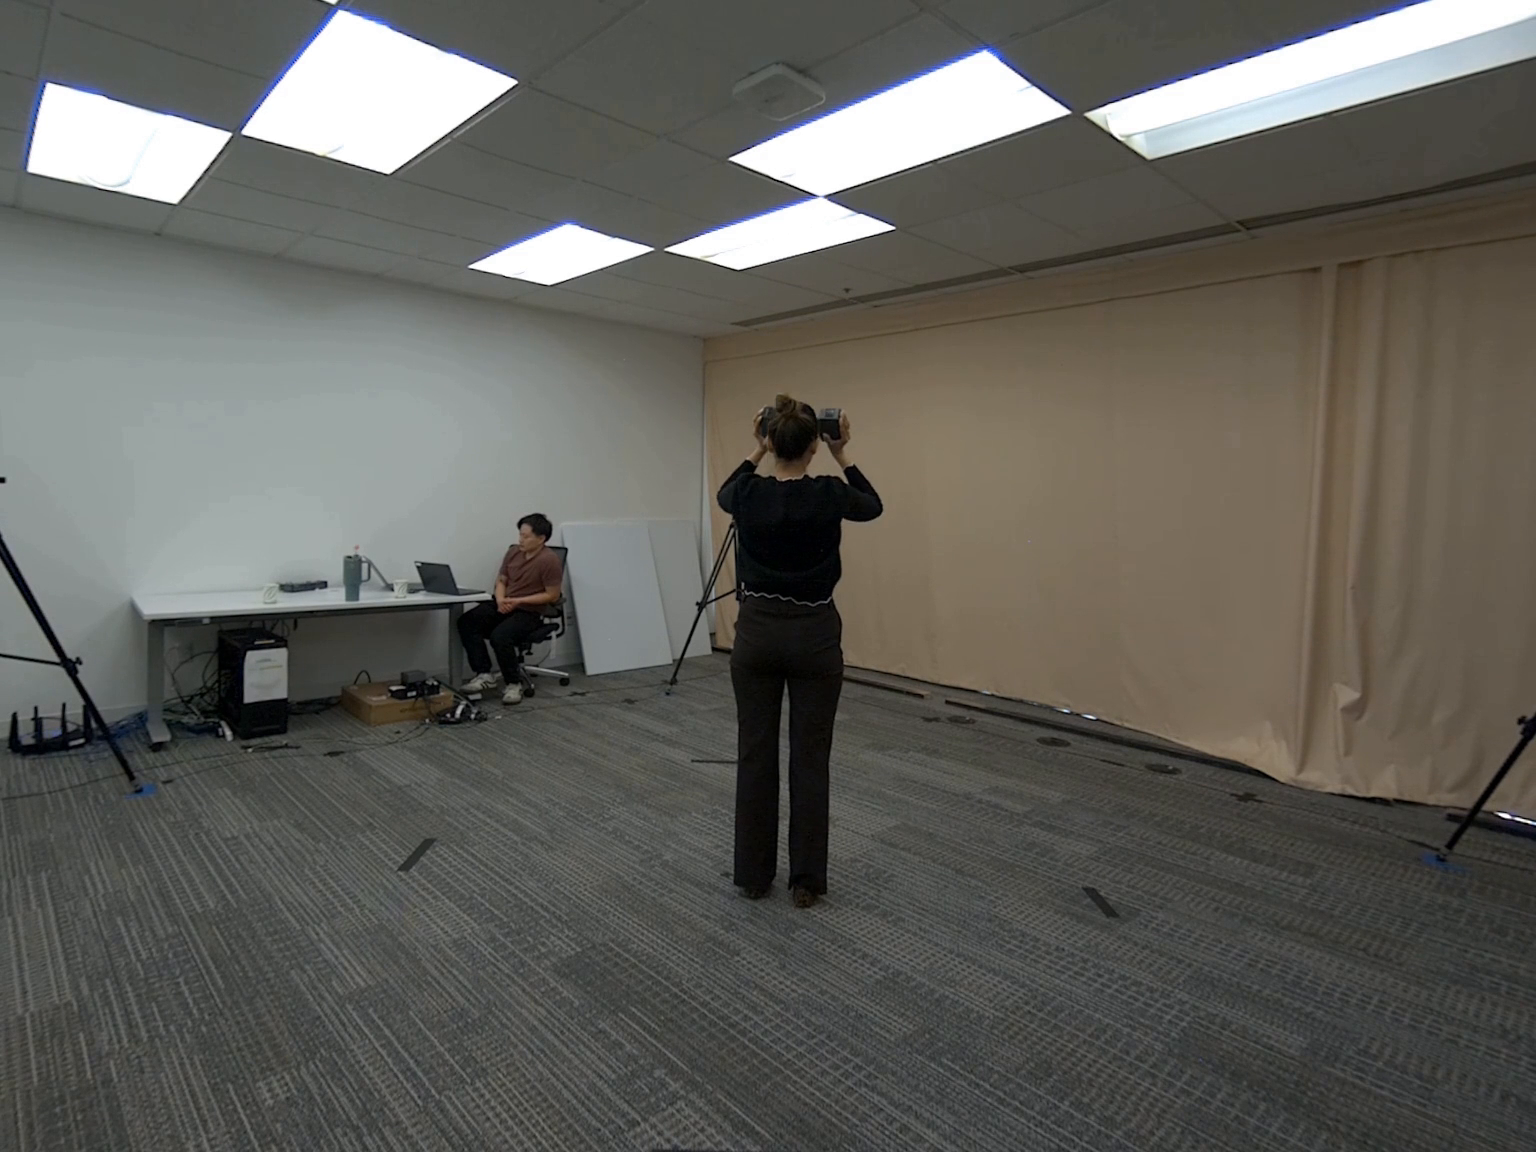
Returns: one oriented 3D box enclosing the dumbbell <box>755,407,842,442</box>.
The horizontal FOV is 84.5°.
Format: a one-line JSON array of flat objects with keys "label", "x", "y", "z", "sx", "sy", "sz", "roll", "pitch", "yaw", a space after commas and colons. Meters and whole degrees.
[{"label": "dumbbell", "x": 0.139, "y": -0.537, "z": 3.008, "sx": 0.297, "sy": 0.109, "sz": 0.120, "roll": 3, "pitch": -13, "yaw": 14}]
